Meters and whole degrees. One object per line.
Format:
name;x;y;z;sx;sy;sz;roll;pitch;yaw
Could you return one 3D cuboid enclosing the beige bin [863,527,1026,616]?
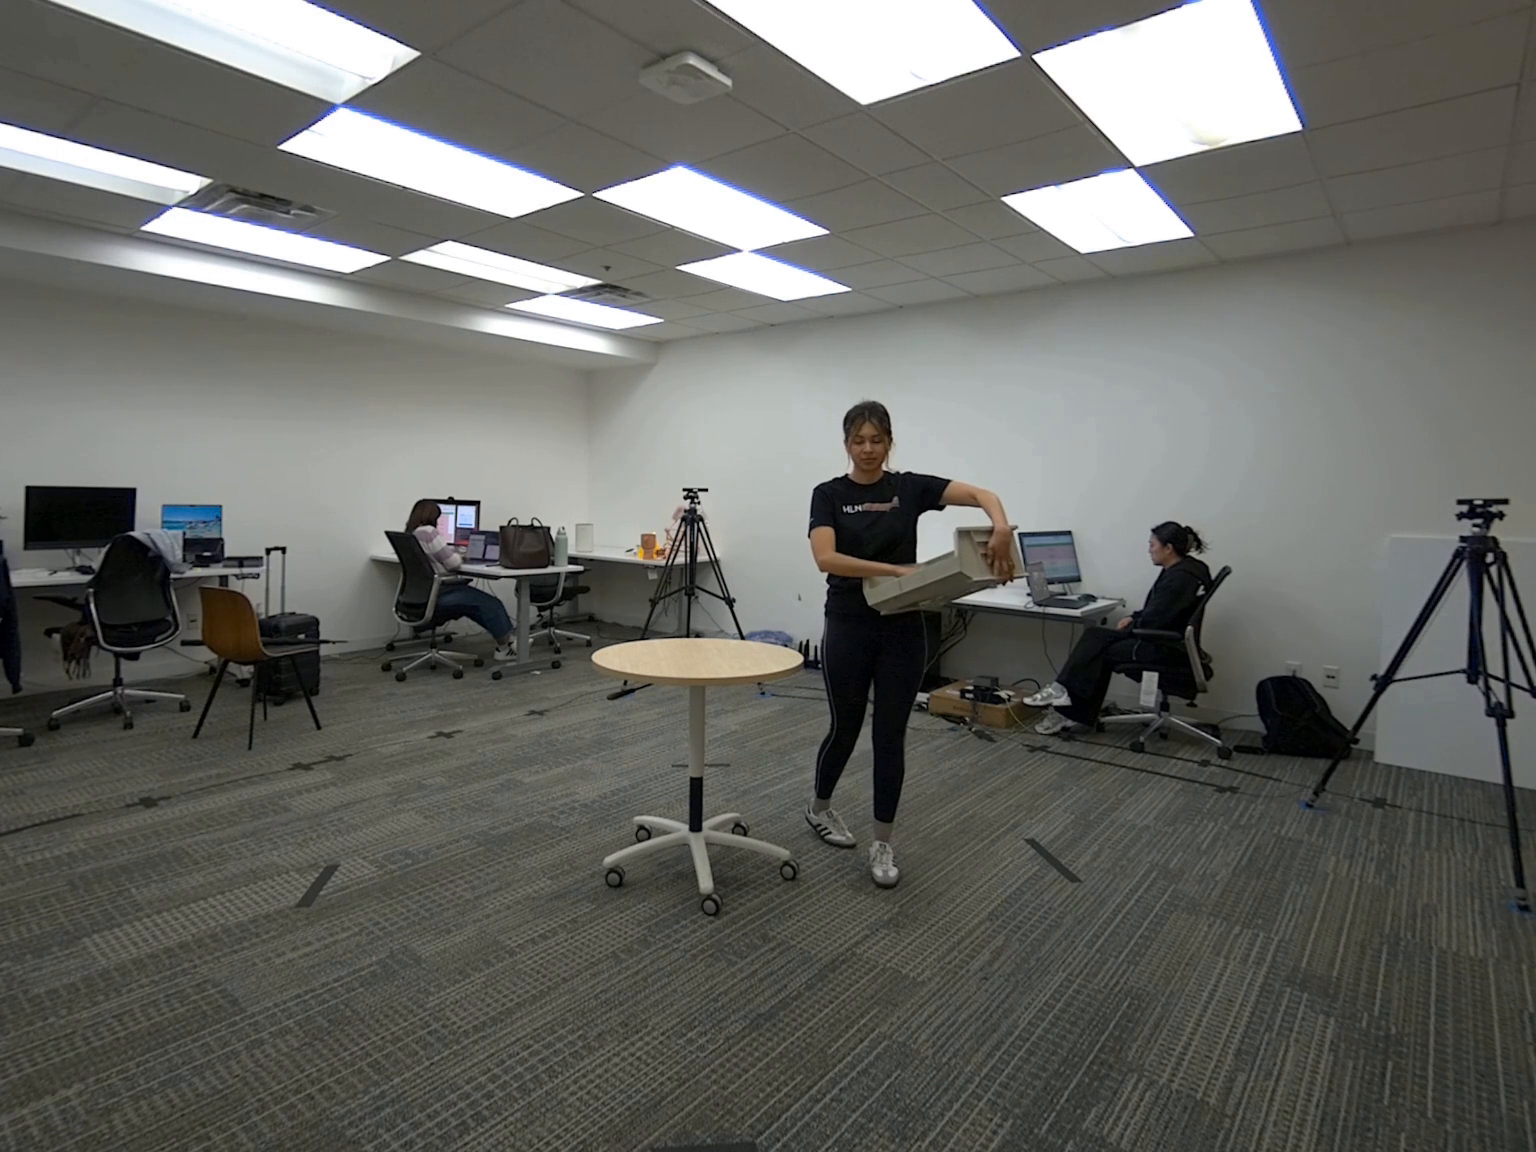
beige bin;0.593;-0.019;2.919;0.366;0.192;0.428;-3;-16;-40
